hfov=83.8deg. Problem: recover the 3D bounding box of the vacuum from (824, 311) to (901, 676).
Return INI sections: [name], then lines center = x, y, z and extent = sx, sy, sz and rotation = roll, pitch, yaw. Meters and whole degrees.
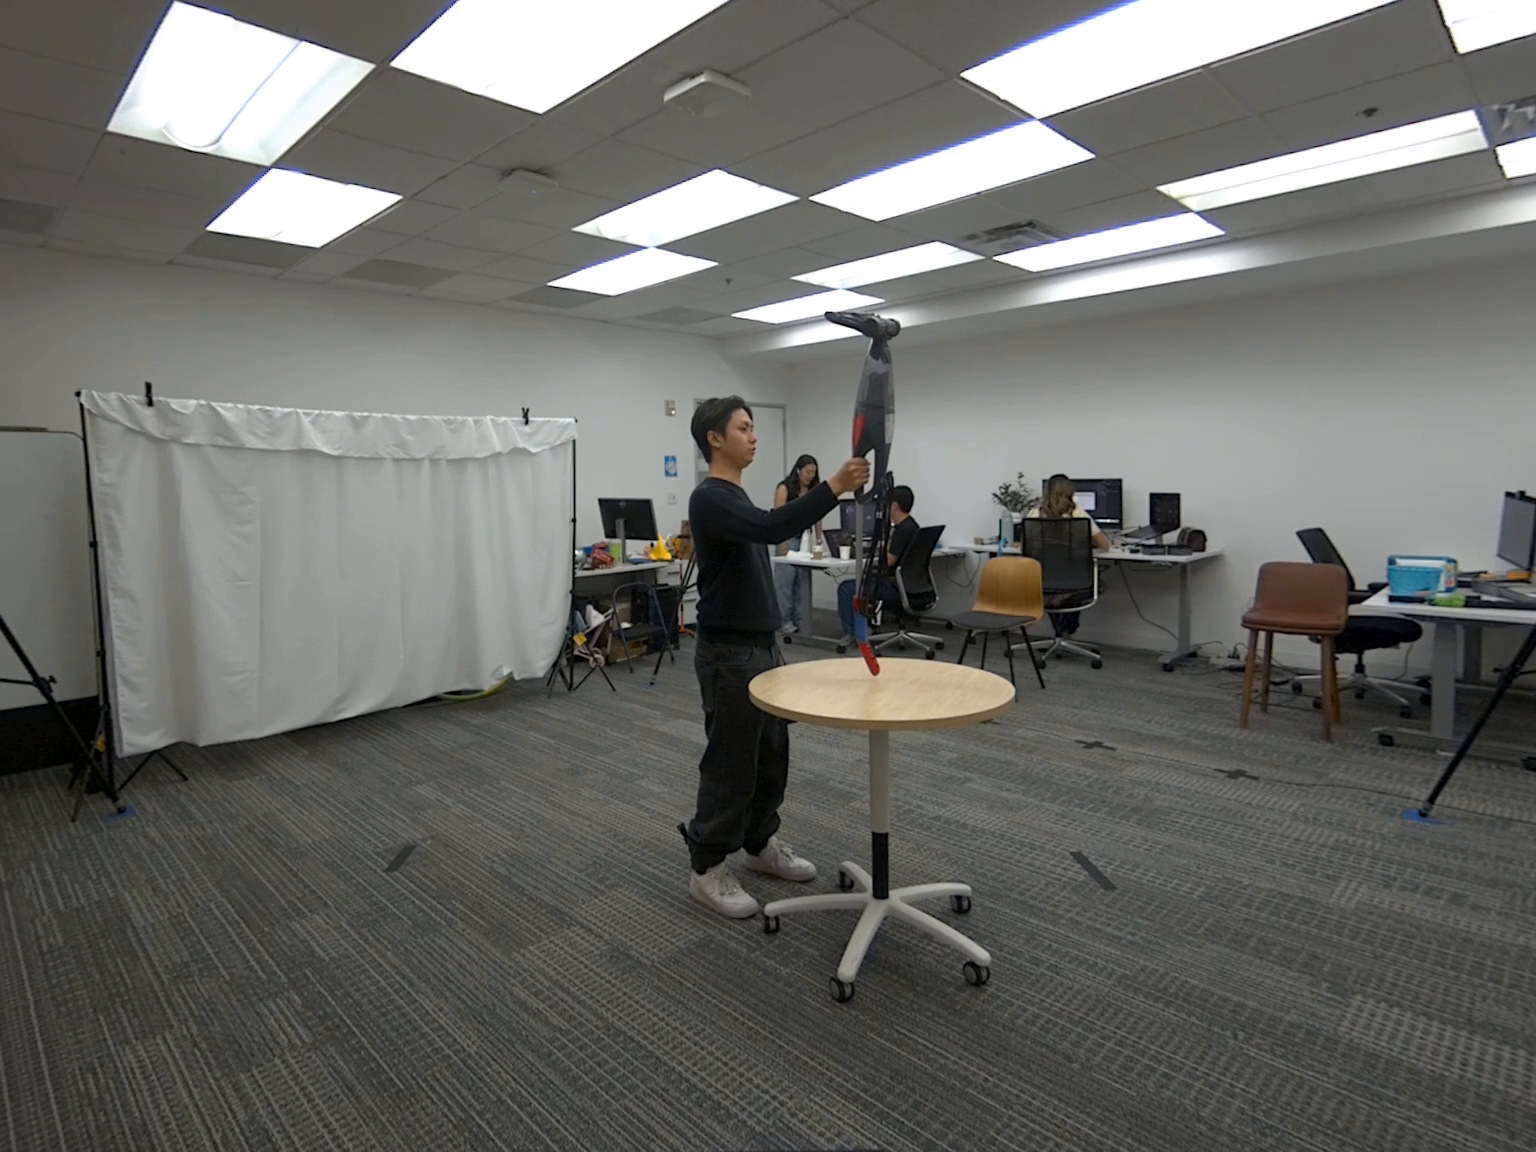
[vacuum]
center = 0.315, -0.216, 2.478
extent = 0.148, 1.039, 0.247
rotation = 6, 13, 40
